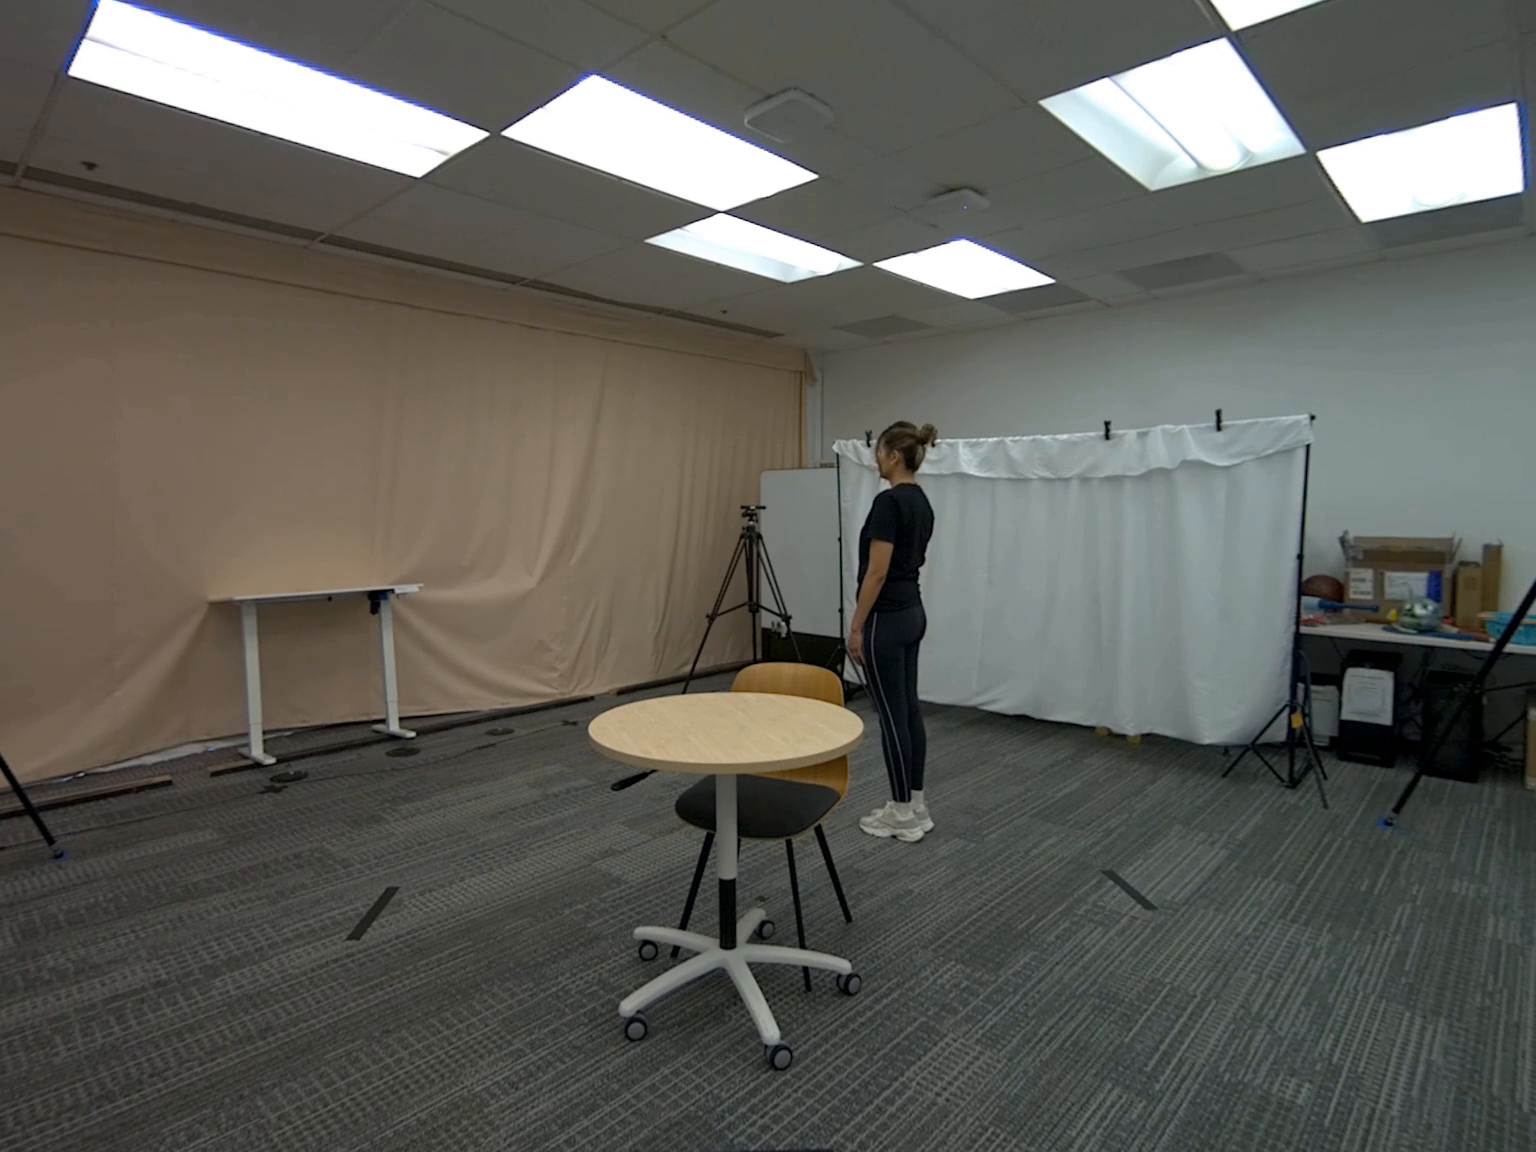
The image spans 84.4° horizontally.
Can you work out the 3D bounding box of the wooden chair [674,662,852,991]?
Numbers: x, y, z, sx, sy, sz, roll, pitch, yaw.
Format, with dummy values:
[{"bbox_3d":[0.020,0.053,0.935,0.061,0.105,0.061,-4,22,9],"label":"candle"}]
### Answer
[{"bbox_3d":[-0.004,0.742,2.674,0.490,0.877,0.510,2,0,24],"label":"wooden chair"}]
